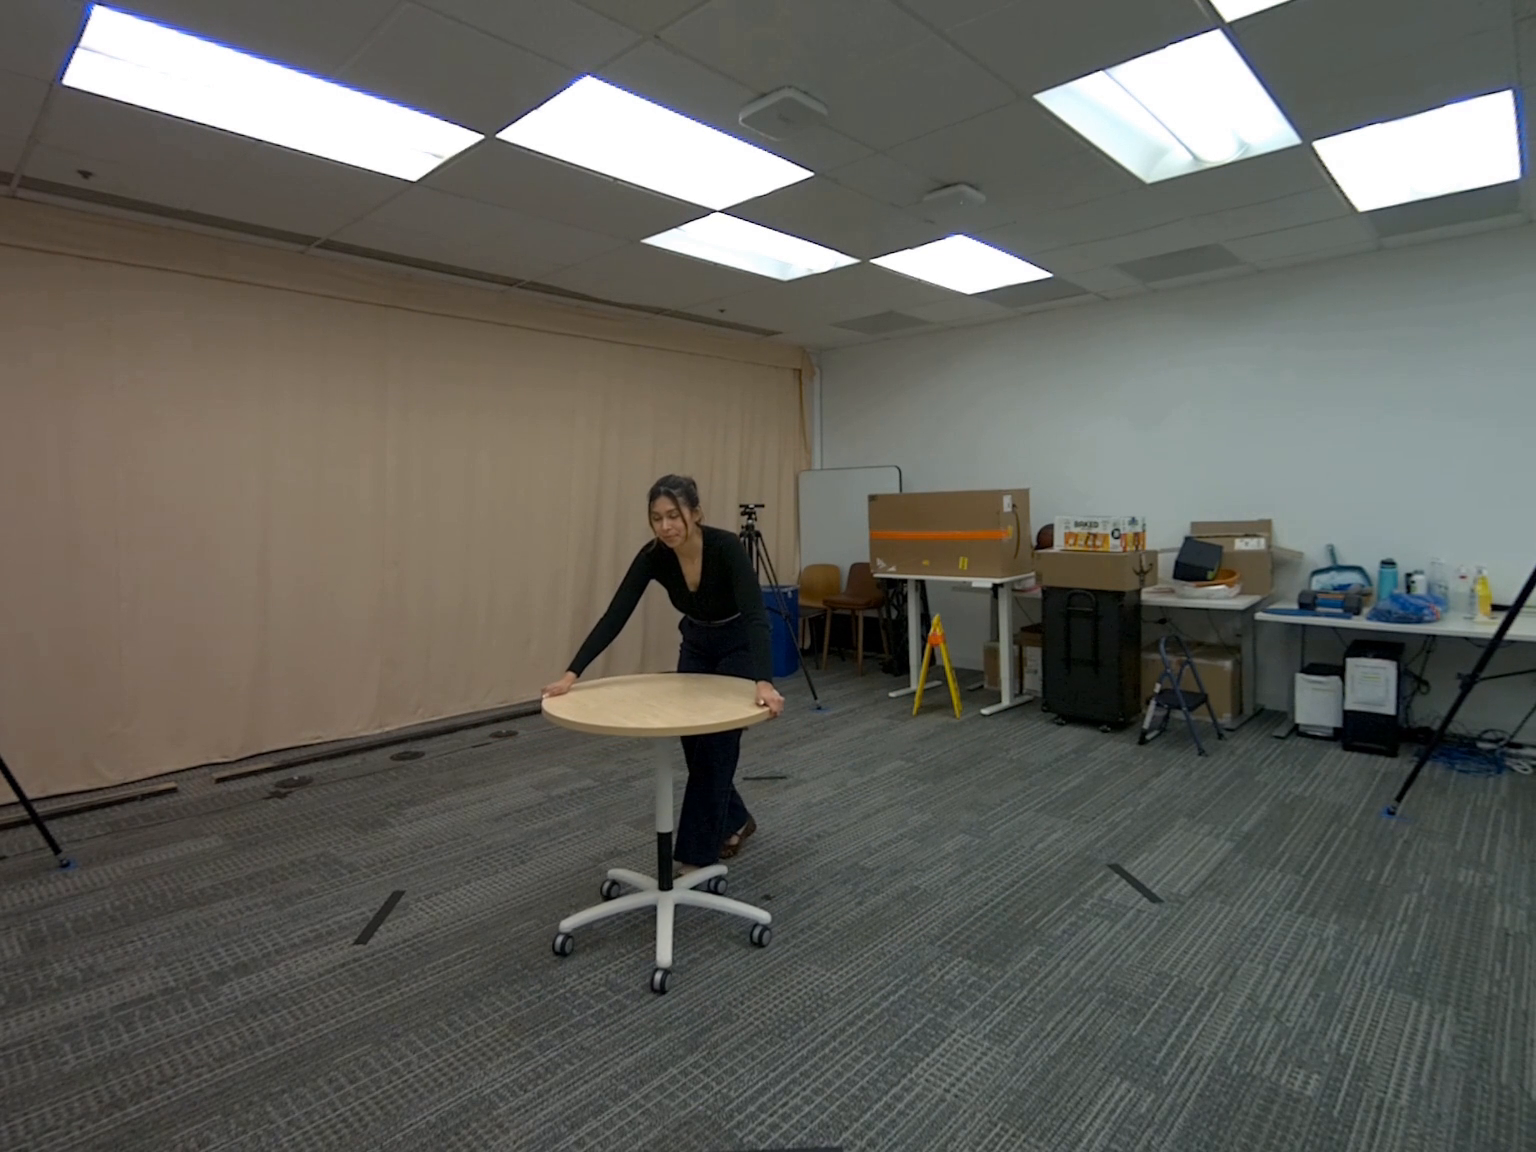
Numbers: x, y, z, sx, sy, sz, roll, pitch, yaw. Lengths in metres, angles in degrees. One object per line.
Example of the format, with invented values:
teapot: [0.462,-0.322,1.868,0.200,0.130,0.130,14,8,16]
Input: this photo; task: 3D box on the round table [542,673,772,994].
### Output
round table: [-0.336,0.782,2.737,0.763,0.792,0.766,-1,4,-2]
